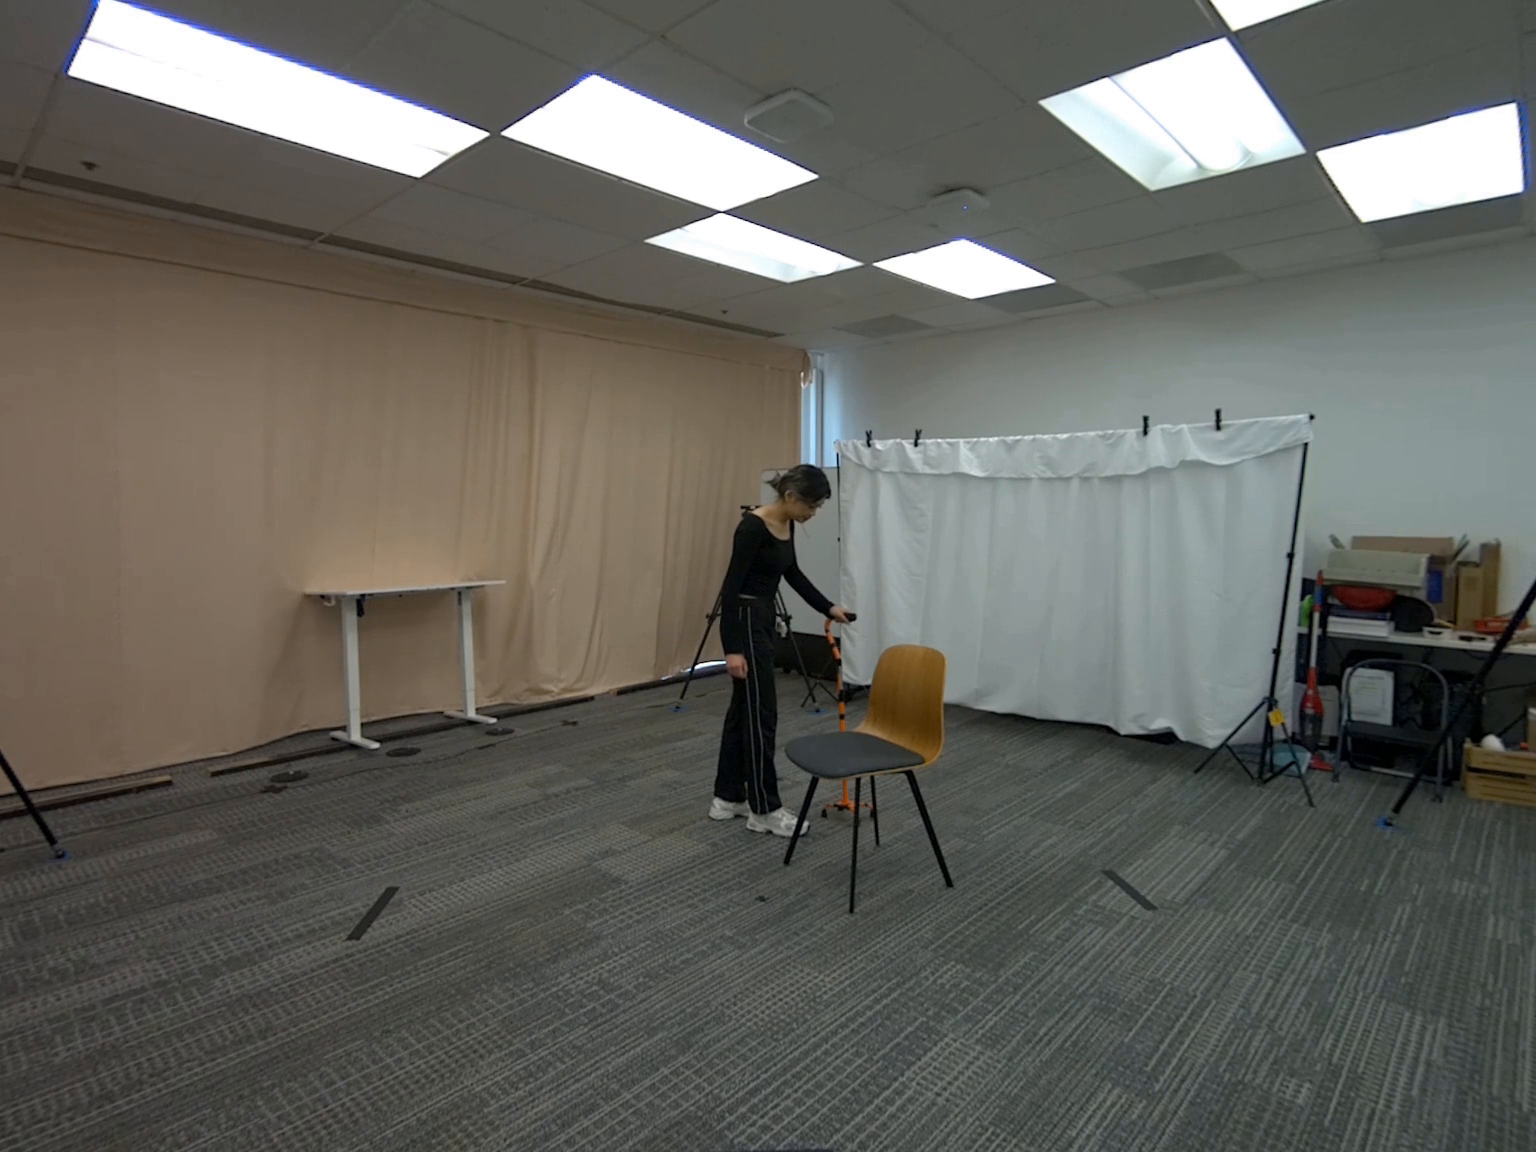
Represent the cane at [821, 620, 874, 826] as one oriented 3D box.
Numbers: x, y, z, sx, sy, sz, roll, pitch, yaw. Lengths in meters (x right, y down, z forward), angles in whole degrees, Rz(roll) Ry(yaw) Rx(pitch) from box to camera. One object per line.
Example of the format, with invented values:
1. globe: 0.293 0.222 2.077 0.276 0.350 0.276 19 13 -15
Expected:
1. cane: 0.348 0.619 3.750 0.147 0.907 0.213 -3 2 -43
